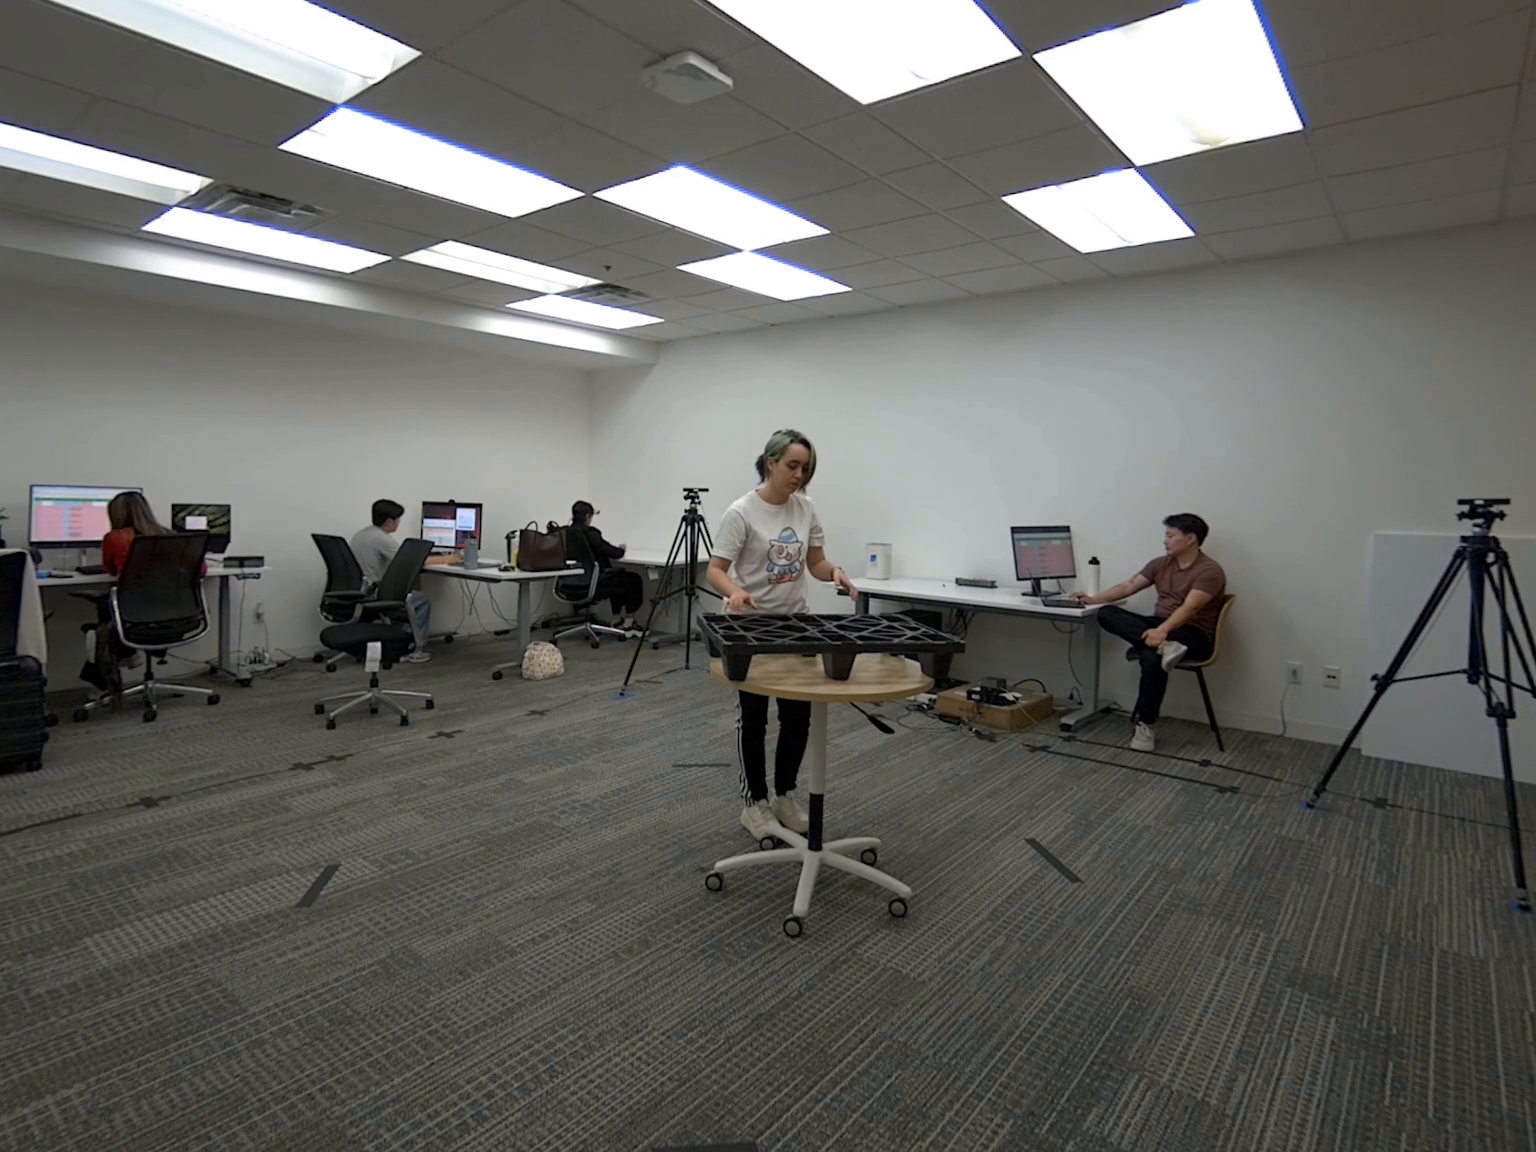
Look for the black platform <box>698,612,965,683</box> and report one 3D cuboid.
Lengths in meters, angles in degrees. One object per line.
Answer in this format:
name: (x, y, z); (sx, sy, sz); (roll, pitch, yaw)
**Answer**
black platform: (0.168, 0.242, 2.967); (0.796, 0.143, 0.615); (1, 6, -11)
